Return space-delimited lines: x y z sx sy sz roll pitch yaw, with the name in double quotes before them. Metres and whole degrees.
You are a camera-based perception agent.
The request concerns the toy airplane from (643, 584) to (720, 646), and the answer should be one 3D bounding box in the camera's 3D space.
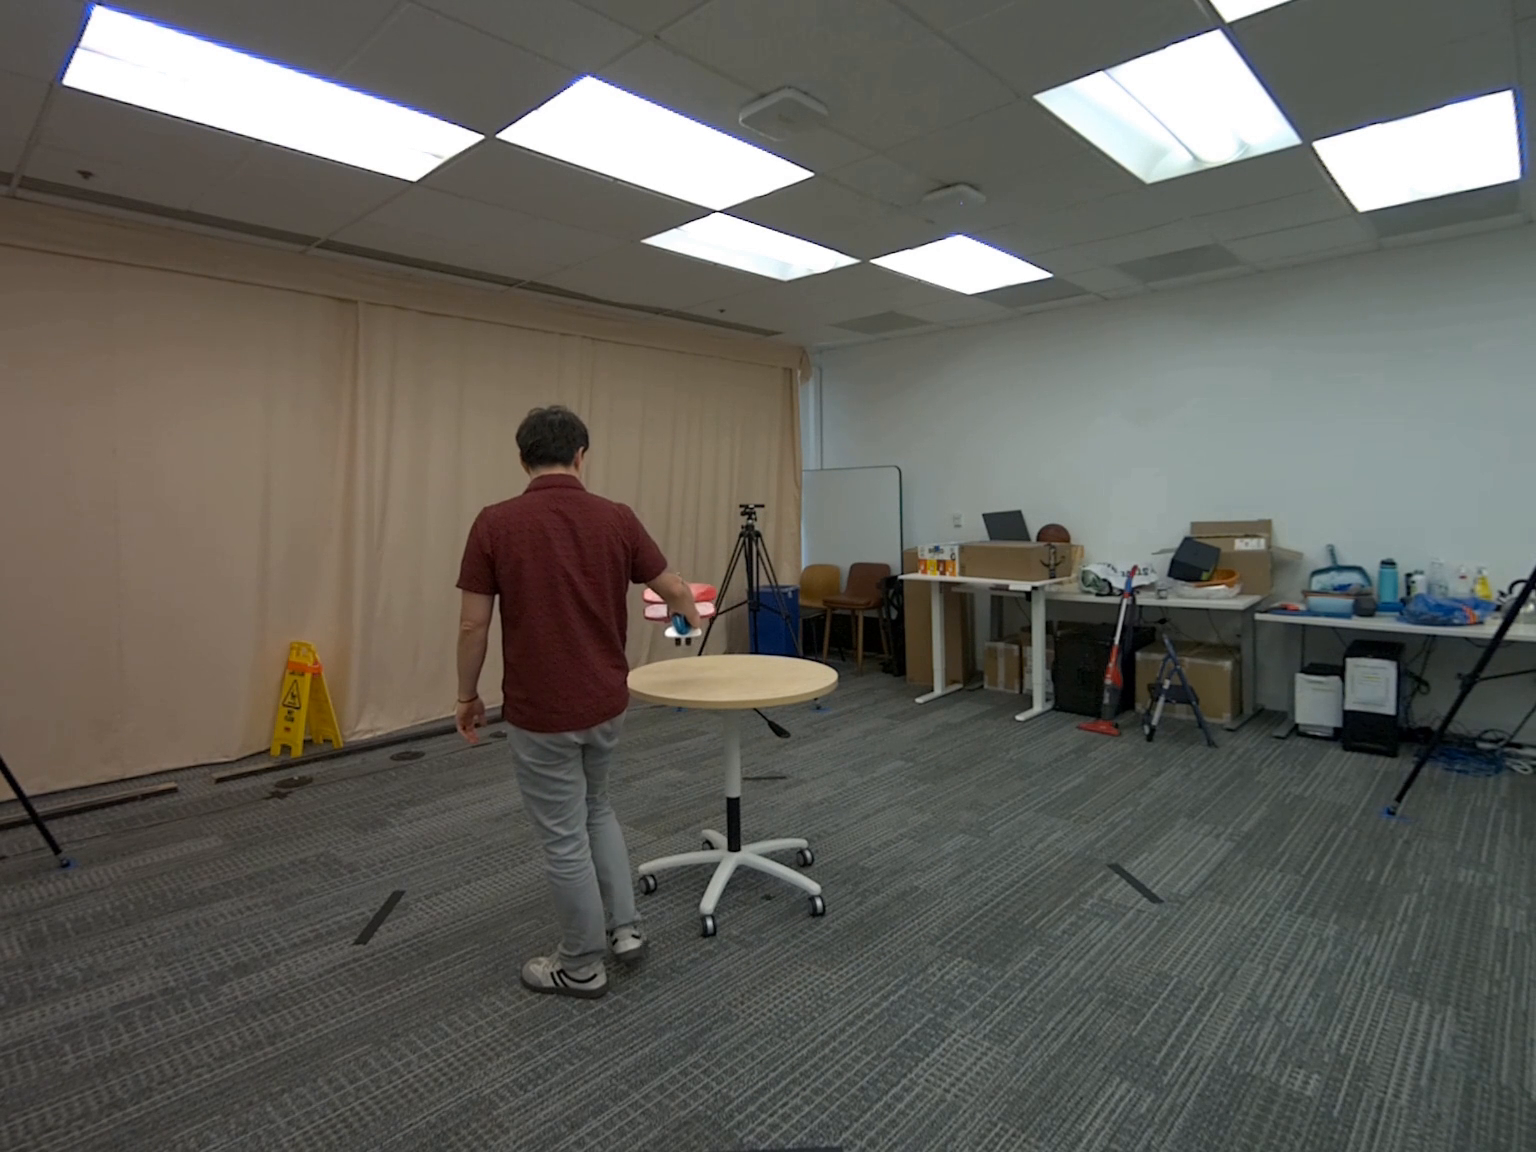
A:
"toy airplane" -0.282 0.127 2.907 0.245 0.154 0.269 -16 28 -31
